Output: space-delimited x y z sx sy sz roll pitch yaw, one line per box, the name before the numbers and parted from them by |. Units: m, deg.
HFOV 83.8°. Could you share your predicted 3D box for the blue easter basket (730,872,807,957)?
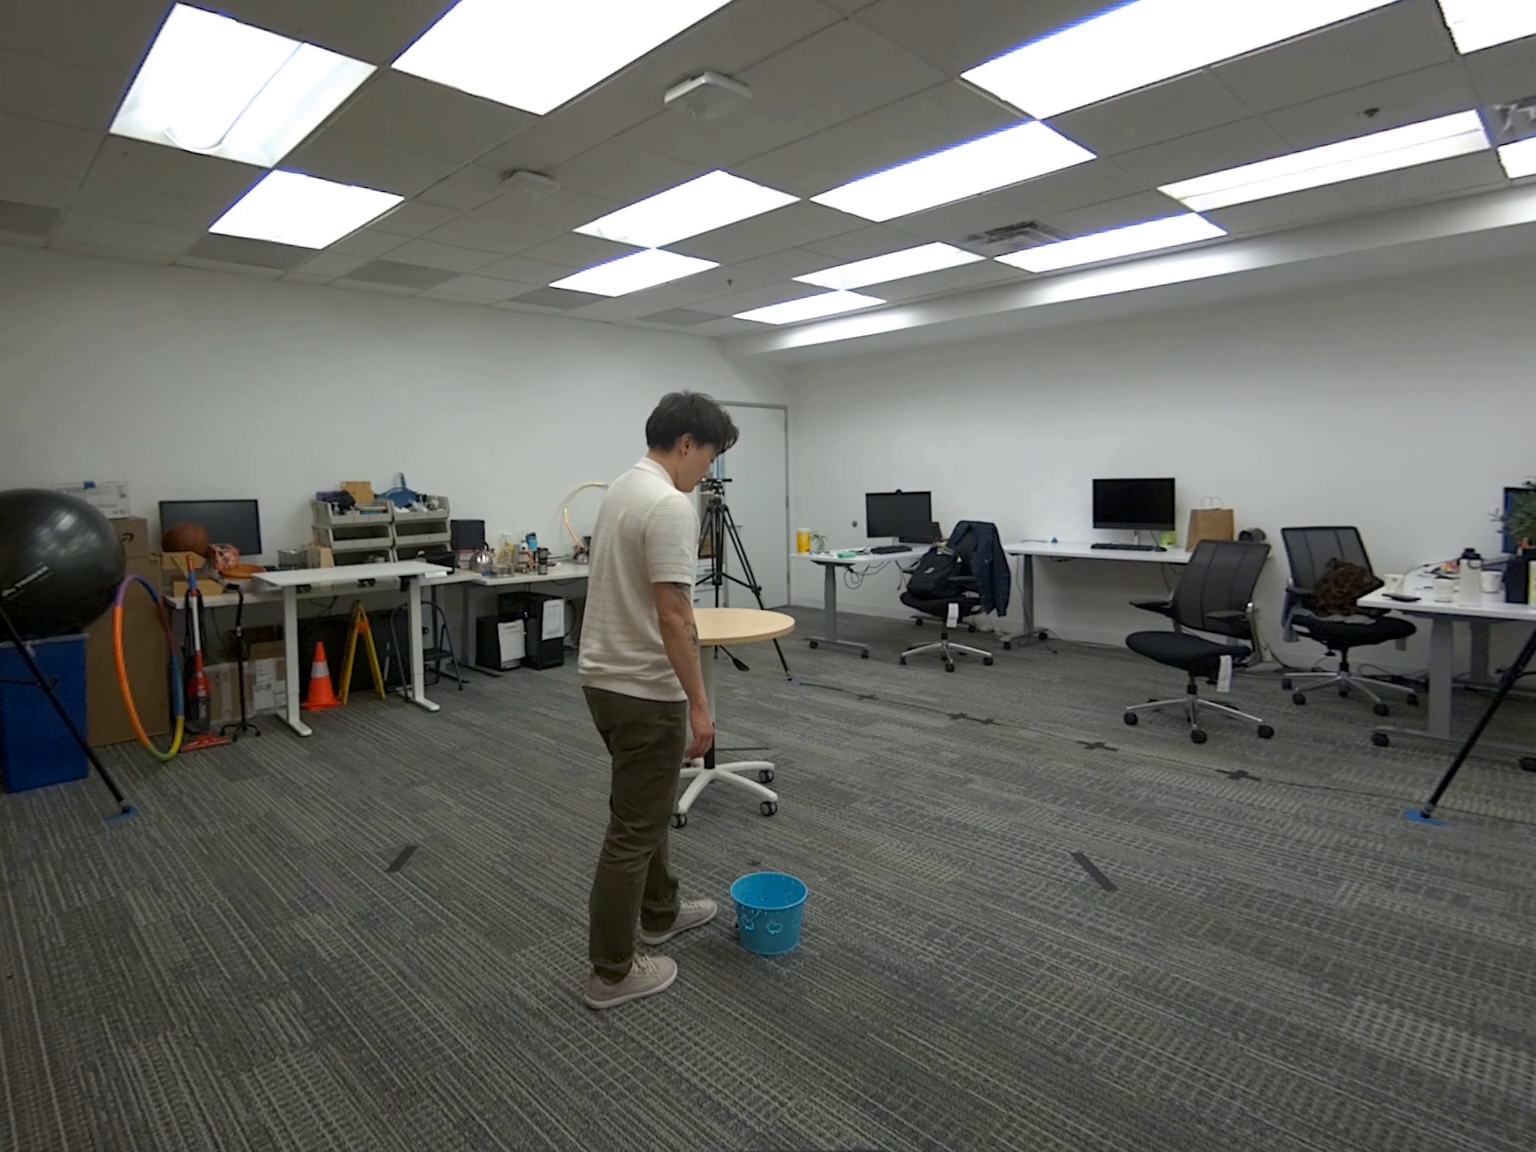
blue easter basket | 0.008 1.025 2.600 0.243 0.155 0.245 -1 6 -2
